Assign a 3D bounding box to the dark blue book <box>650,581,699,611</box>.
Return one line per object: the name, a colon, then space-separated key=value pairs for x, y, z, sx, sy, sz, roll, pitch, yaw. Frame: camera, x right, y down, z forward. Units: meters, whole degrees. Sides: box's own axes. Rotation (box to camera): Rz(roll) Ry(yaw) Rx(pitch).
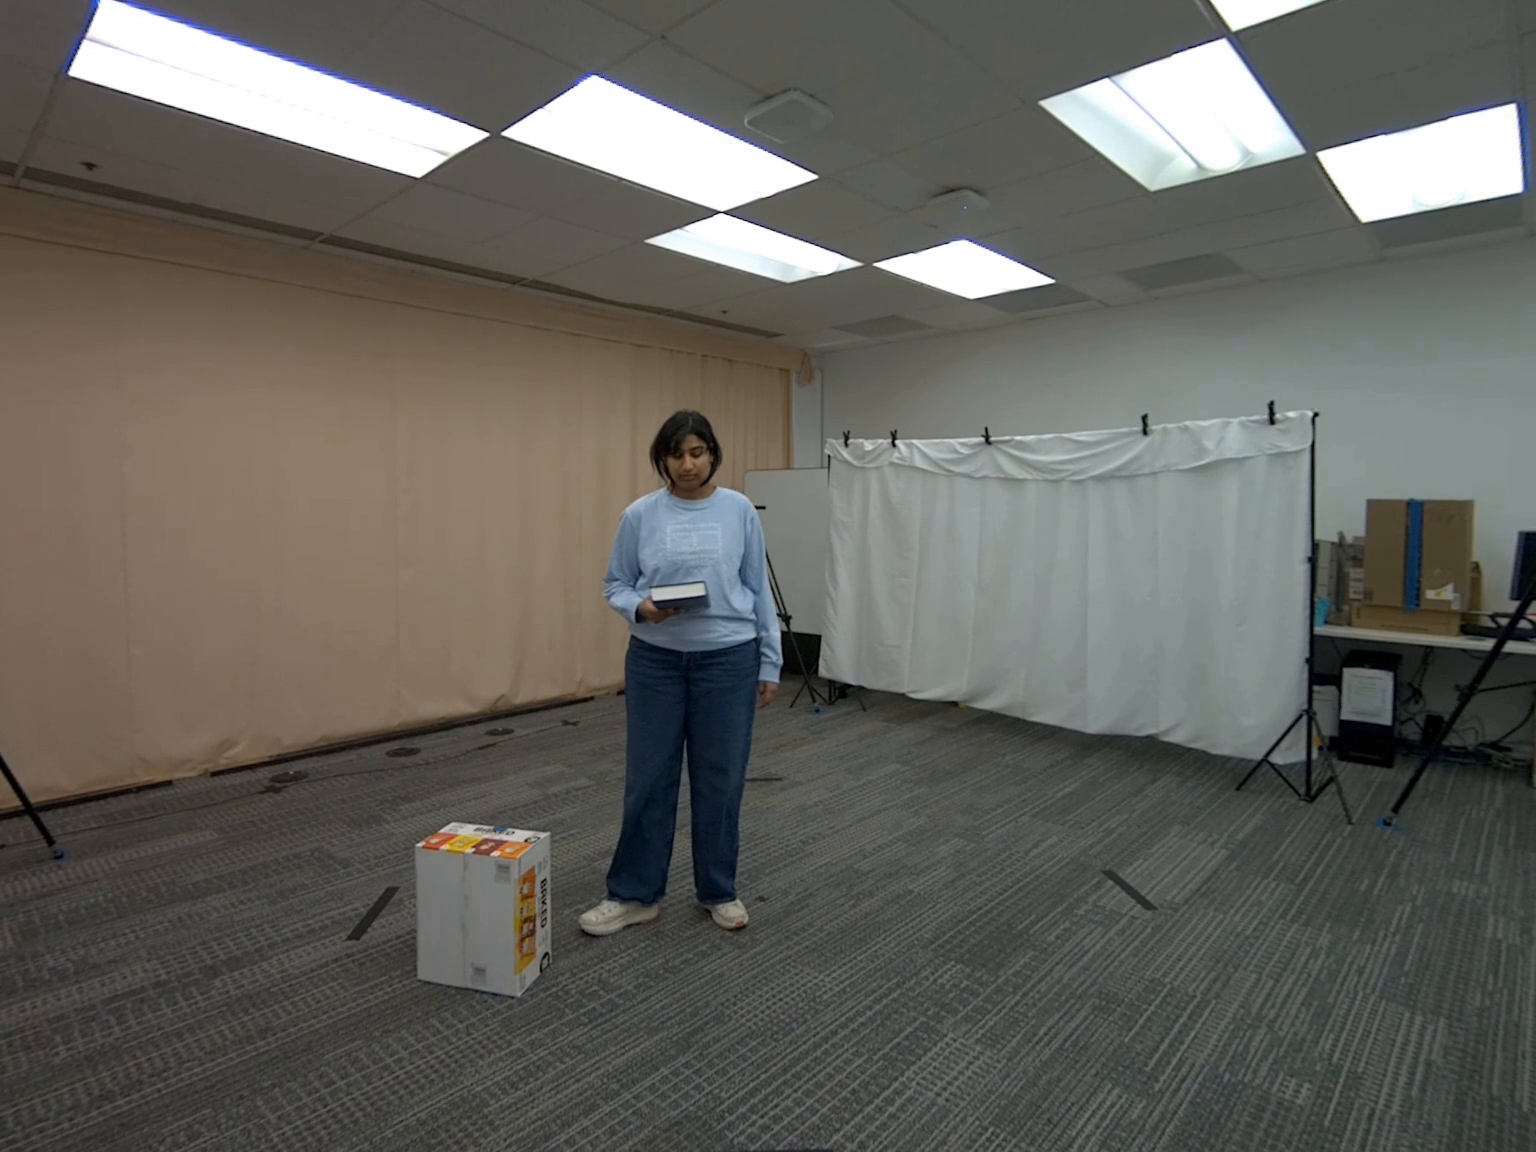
dark blue book: x=-0.319 y=0.072 z=2.507 sx=0.162 sy=0.045 sz=0.245 roll=-5 pitch=-11 yaw=-8
